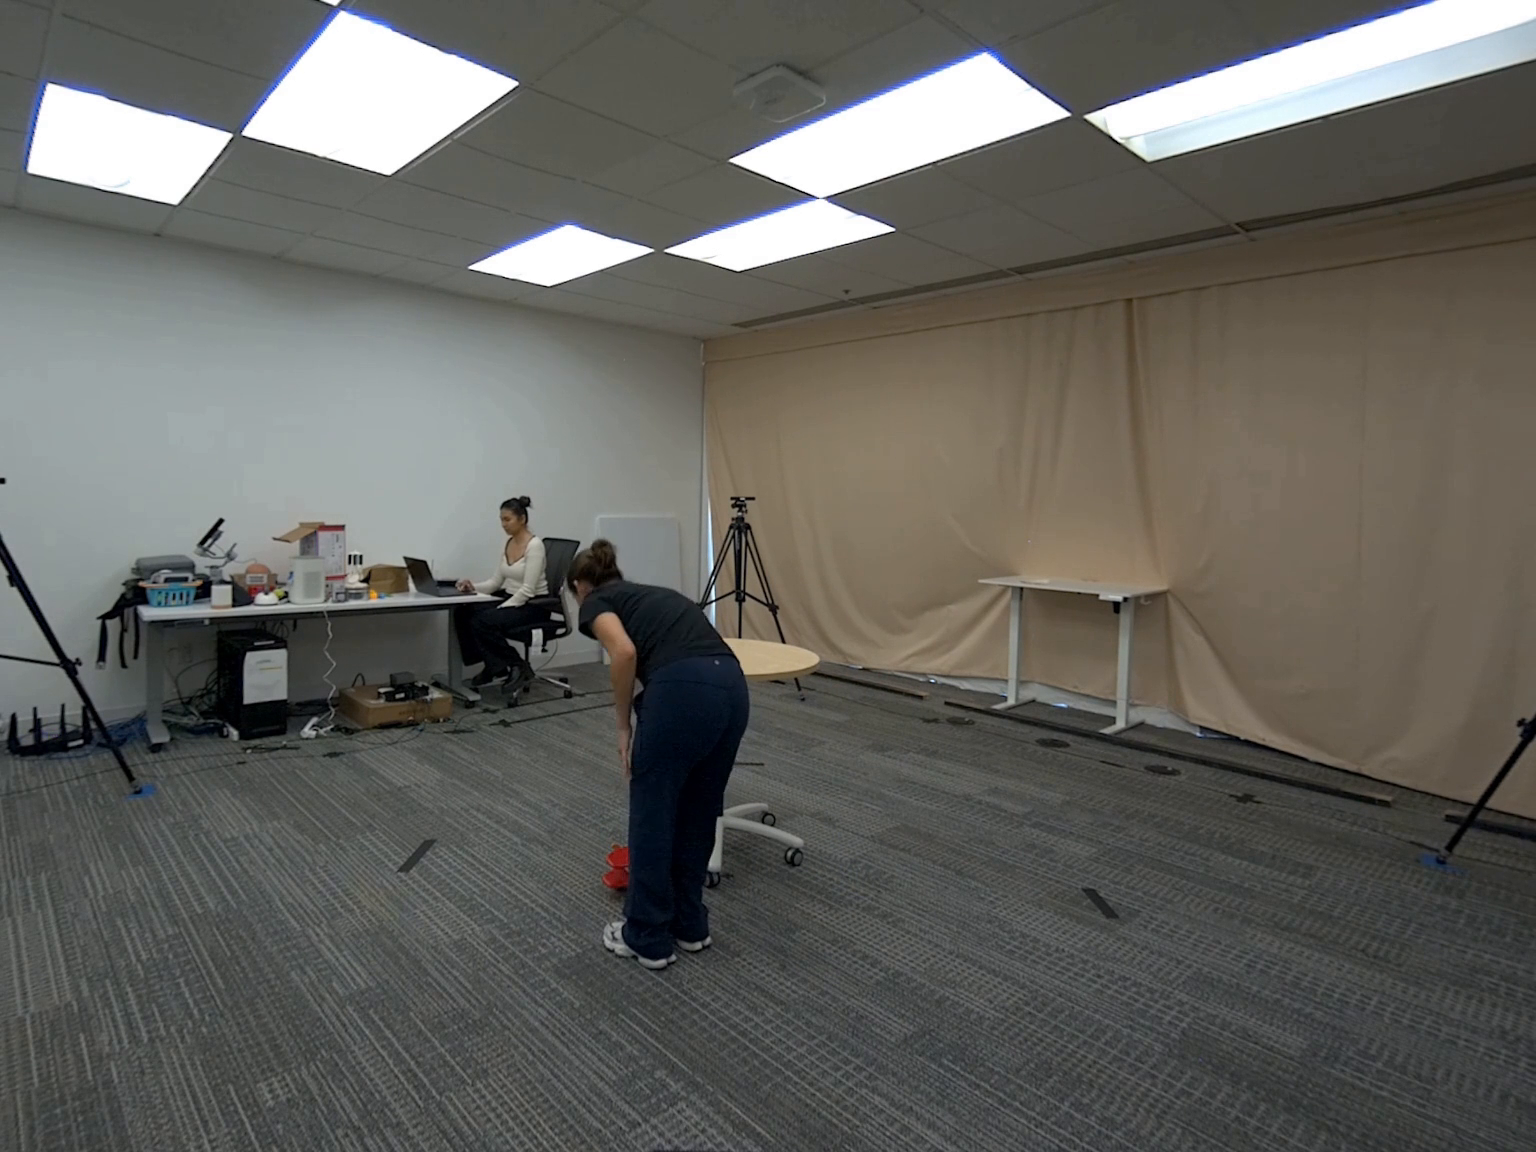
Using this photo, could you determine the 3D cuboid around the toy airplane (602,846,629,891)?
[{"bbox_3d":[-0.432,1.044,2.942,0.263,0.156,0.248,2,4,17],"label":"toy airplane"}]
